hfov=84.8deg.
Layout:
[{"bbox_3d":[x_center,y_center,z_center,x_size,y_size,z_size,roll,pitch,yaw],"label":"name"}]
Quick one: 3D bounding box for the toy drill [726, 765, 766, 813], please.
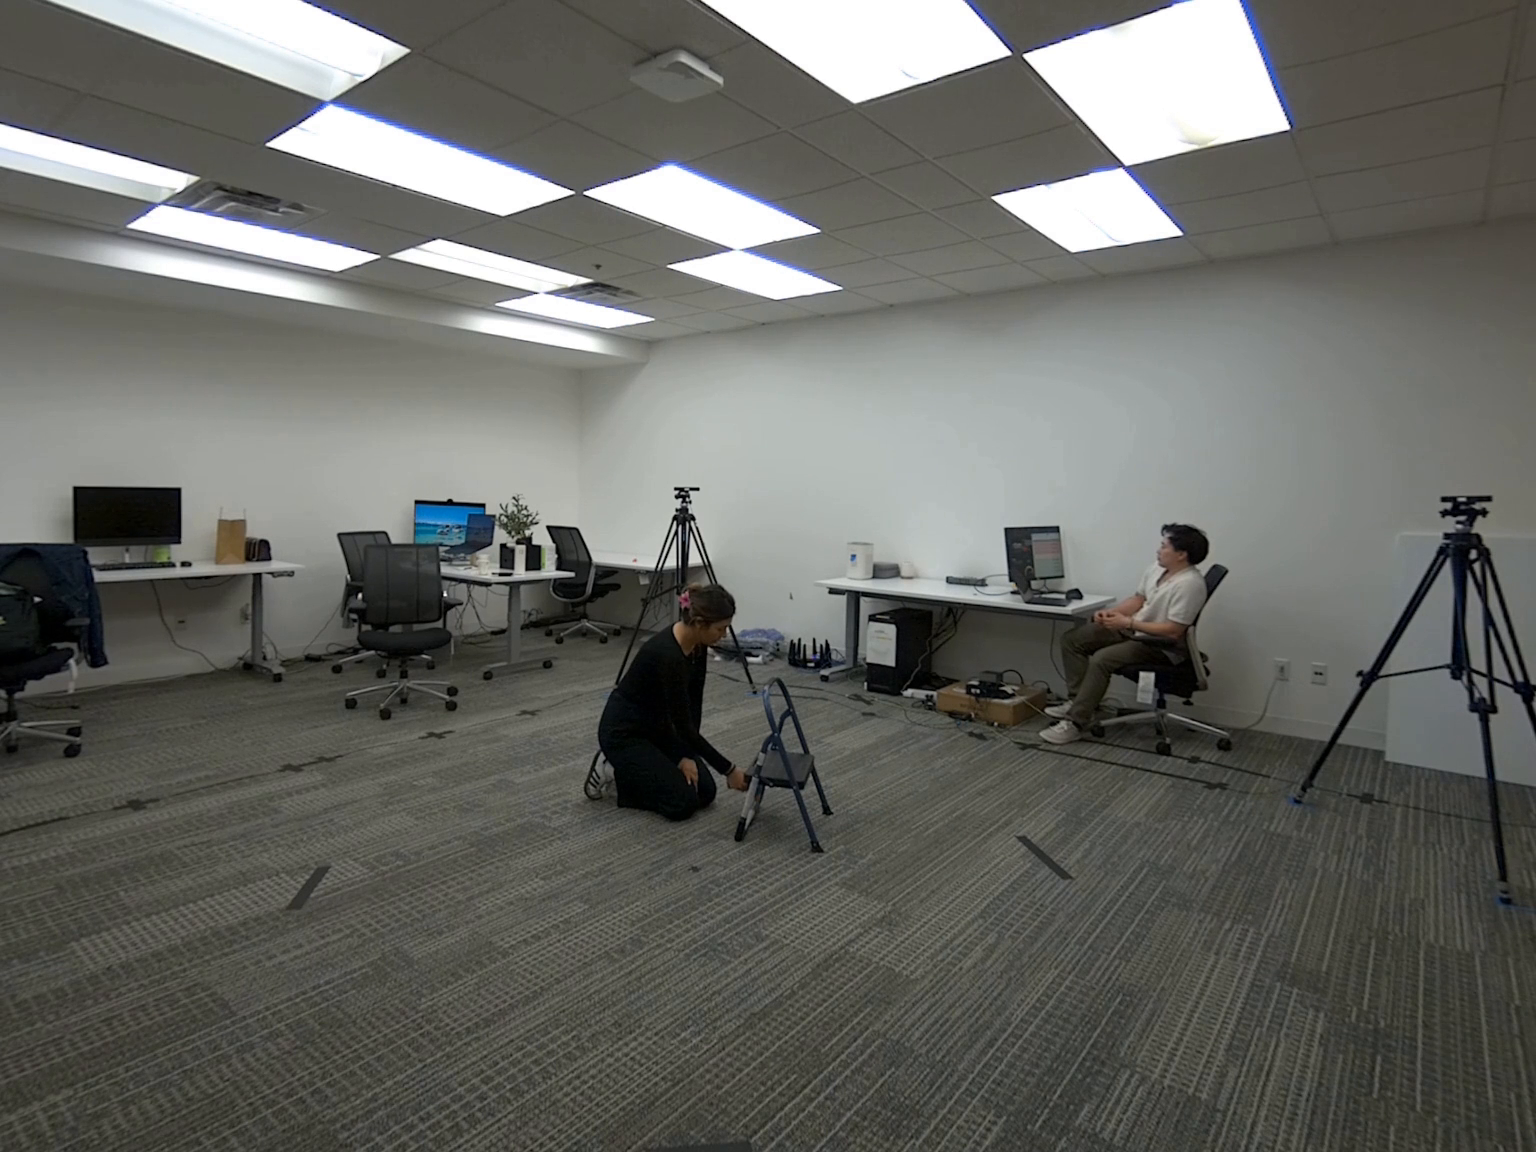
[{"bbox_3d":[-0.099,0.920,3.640,0.144,0.165,0.063,-14,35,-13],"label":"toy drill"}]
